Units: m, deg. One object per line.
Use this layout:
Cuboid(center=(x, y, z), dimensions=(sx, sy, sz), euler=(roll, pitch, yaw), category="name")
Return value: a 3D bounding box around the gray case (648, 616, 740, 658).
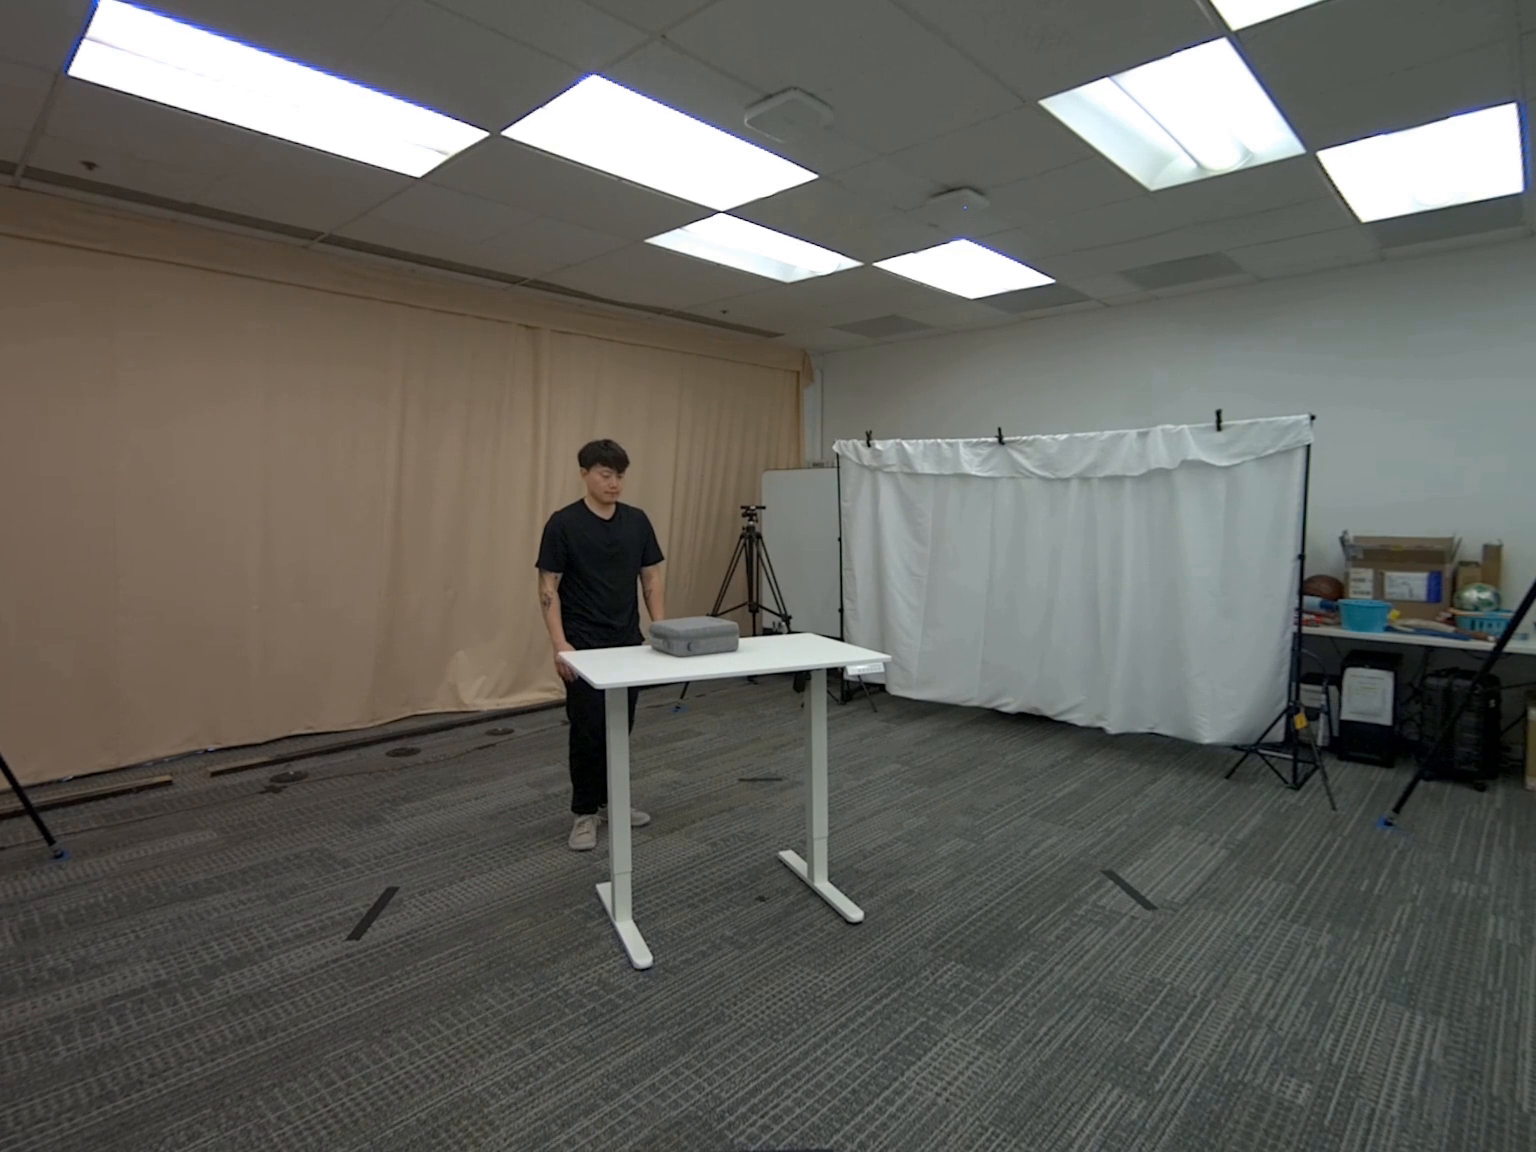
Cuboid(center=(-0.263, 0.212, 2.985), dimensions=(0.254, 0.104, 0.265), euler=(-4, 7, -31), category="gray case")
